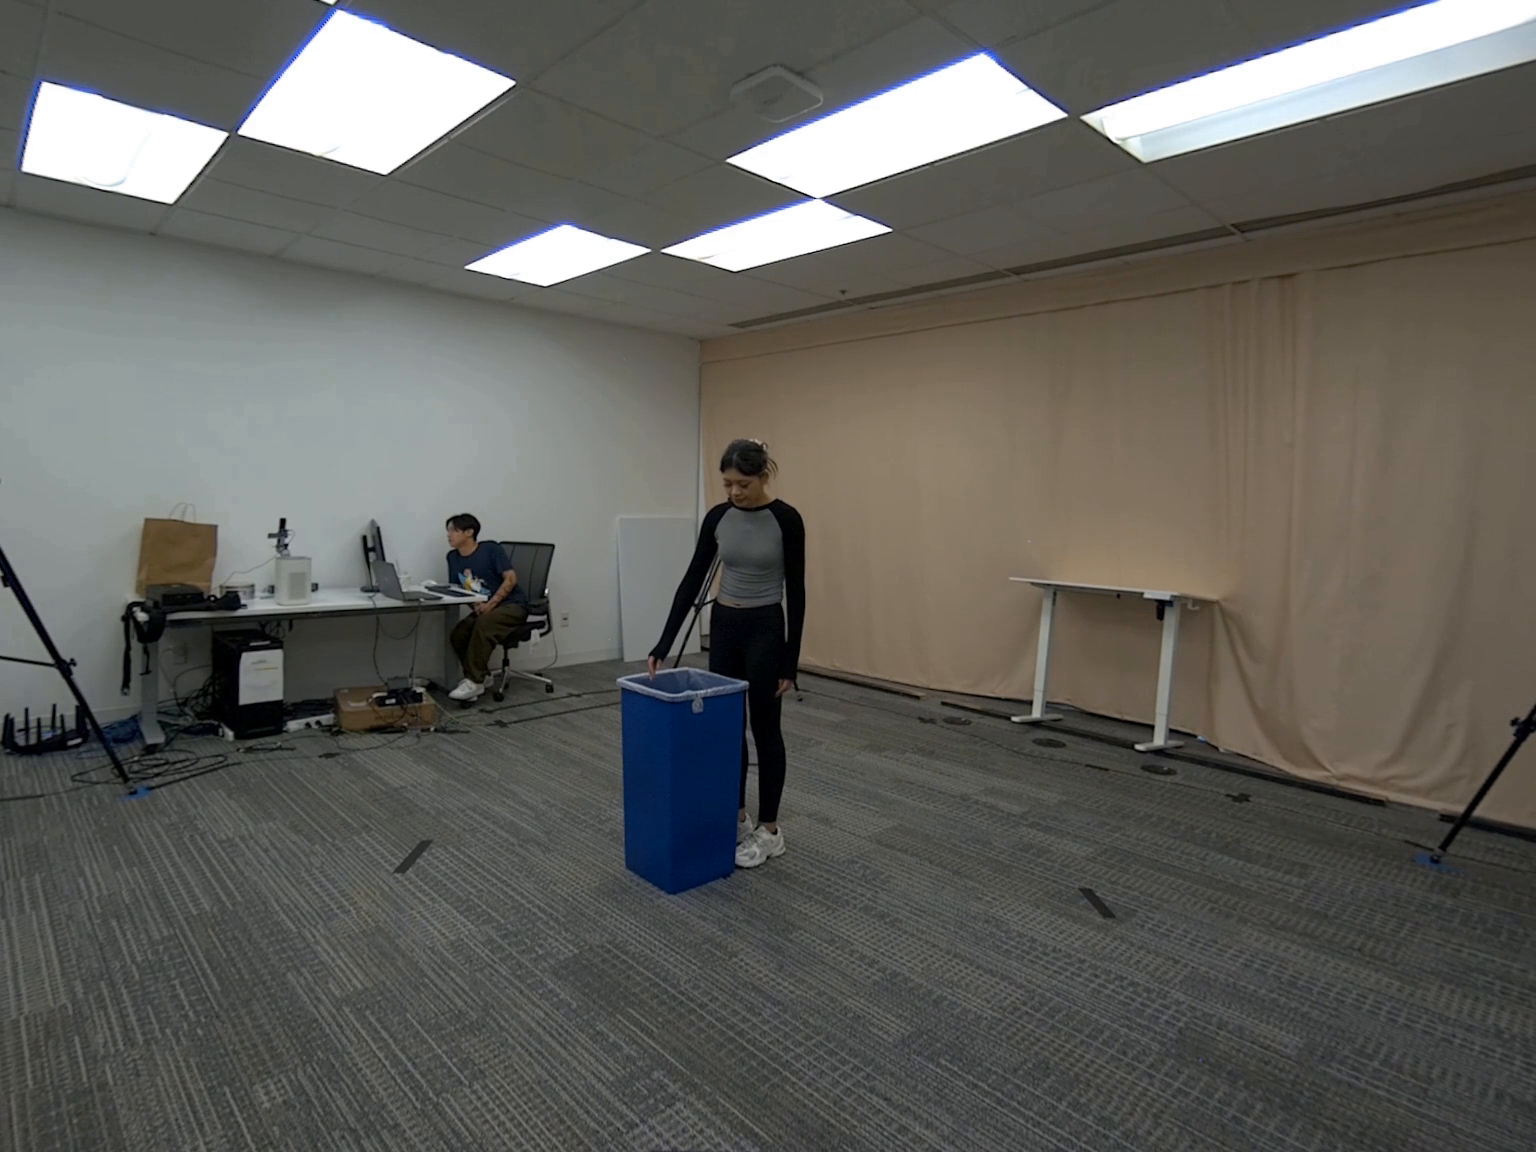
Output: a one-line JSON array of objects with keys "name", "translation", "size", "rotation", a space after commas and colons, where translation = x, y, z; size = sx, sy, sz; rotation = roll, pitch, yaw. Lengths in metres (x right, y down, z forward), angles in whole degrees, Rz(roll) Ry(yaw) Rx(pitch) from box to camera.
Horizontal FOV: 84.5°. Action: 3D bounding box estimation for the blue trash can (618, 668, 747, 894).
[{"name": "blue trash can", "translation": [-0.336, 0.742, 3.134], "size": [0.369, 0.712, 0.384], "rotation": [-1, 5, -43]}]
